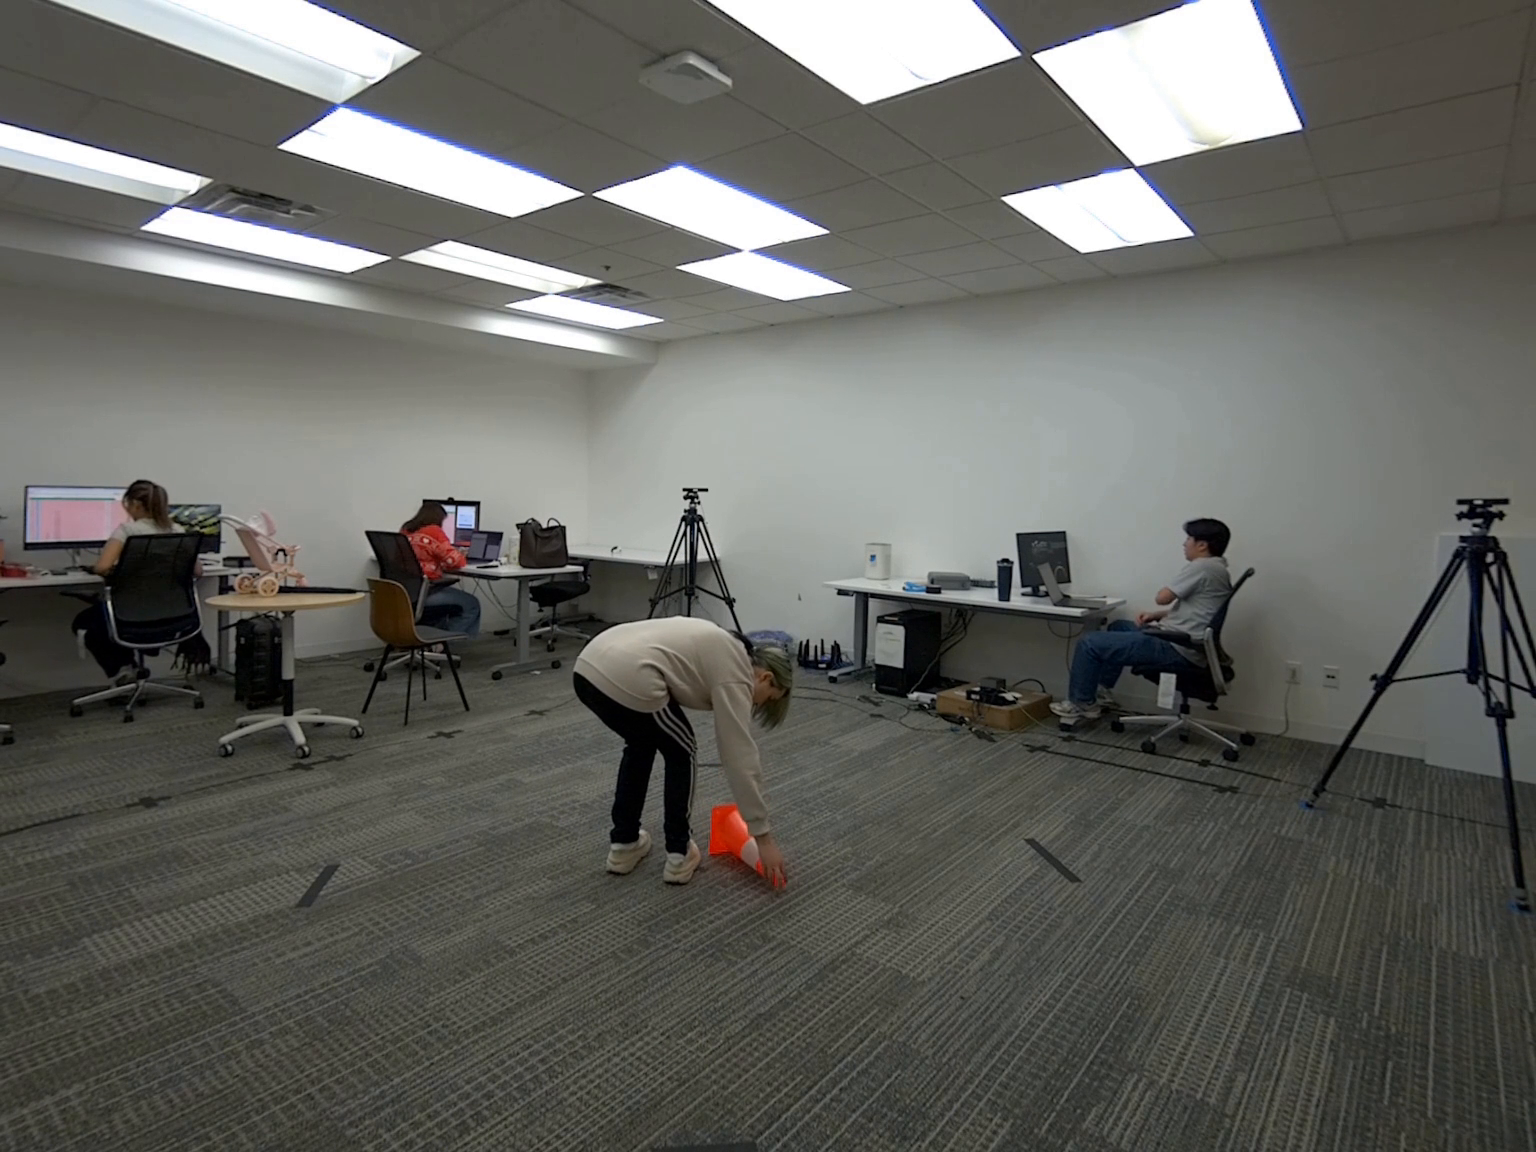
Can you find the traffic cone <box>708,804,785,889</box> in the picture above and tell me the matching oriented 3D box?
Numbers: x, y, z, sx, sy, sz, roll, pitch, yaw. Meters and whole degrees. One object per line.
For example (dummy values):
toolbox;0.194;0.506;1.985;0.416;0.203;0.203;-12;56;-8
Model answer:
traffic cone;-0.056;1.010;3.087;0.198;0.203;0.397;0;14;-27
